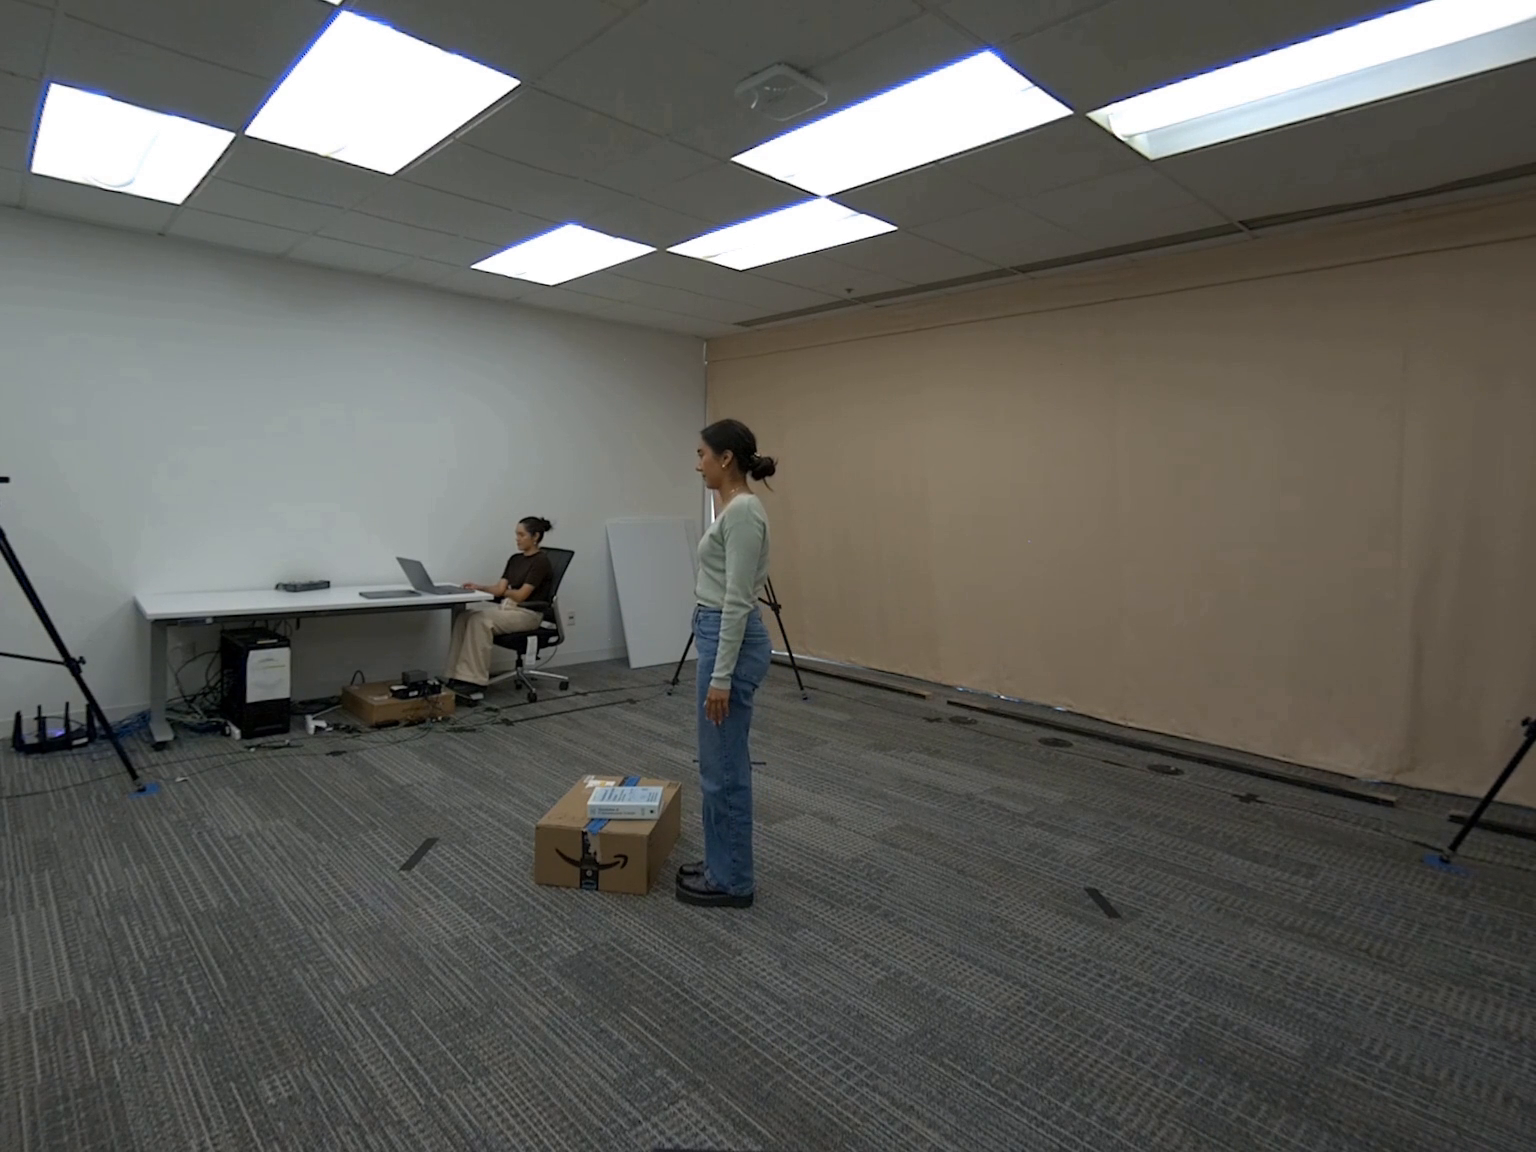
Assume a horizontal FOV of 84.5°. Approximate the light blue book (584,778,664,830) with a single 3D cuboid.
[{"bbox_3d":[-0.540,0.849,3.153,0.261,0.059,0.192,1,4,0],"label":"light blue book"}]
